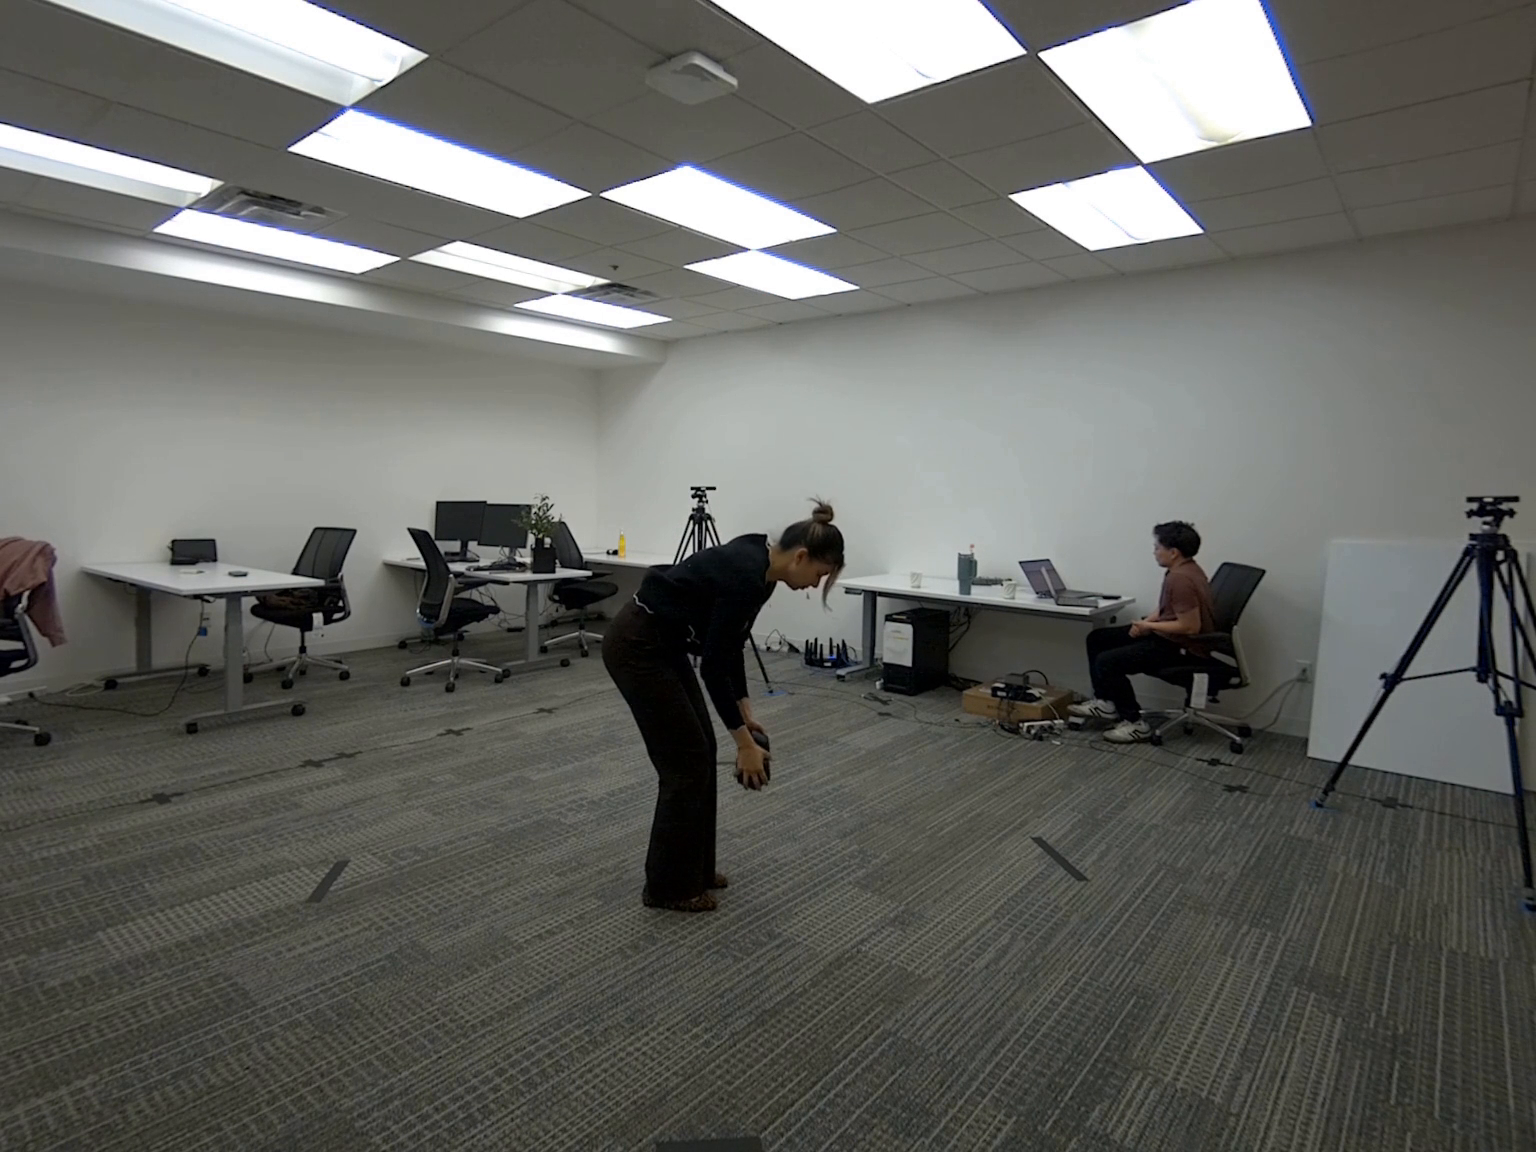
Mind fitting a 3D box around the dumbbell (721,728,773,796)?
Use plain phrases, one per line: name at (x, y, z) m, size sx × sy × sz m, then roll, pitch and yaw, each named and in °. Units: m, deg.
dumbbell at (-0.077, 0.611, 2.852) m, size 0.122 × 0.108 × 0.295 m, roll 32°, pitch 4°, yaw -5°
